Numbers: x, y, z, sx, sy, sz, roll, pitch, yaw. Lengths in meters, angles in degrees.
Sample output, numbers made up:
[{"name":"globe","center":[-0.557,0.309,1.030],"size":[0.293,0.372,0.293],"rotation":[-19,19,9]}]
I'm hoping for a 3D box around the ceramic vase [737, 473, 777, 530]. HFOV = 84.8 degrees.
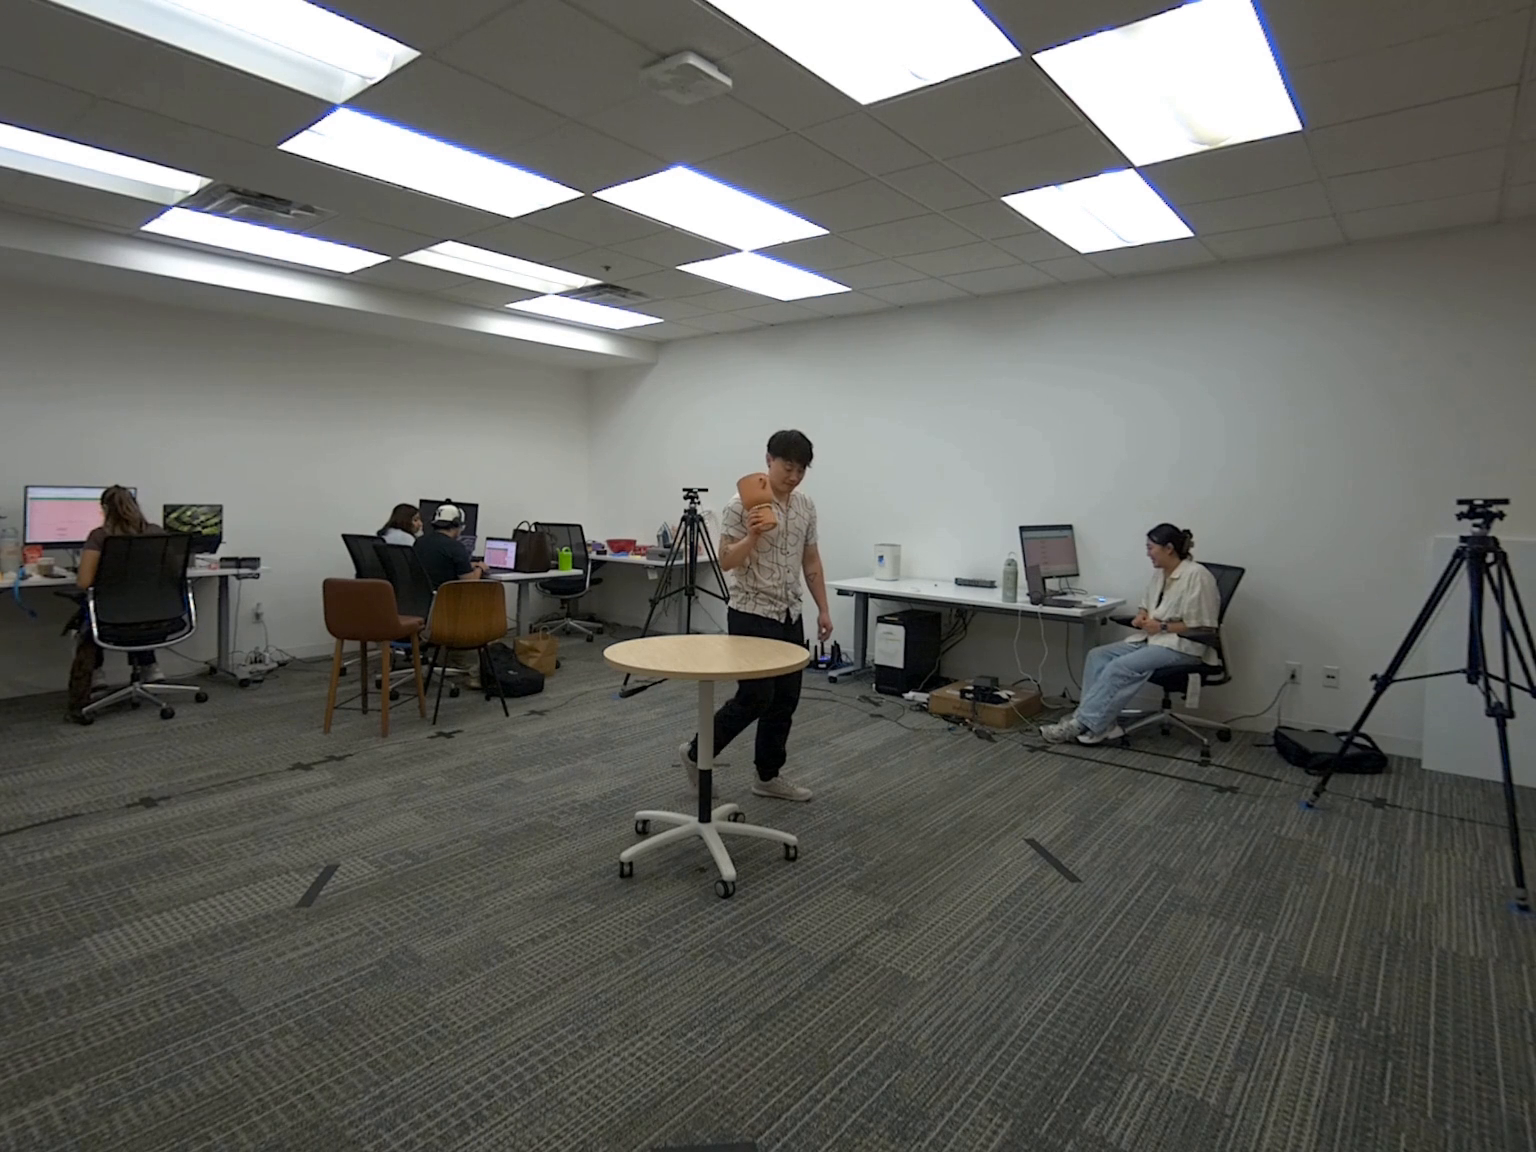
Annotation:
[{"name":"ceramic vase","center":[-0.047,-0.302,3.486],"size":[0.136,0.224,0.154],"rotation":[-21,-17,12]}]
